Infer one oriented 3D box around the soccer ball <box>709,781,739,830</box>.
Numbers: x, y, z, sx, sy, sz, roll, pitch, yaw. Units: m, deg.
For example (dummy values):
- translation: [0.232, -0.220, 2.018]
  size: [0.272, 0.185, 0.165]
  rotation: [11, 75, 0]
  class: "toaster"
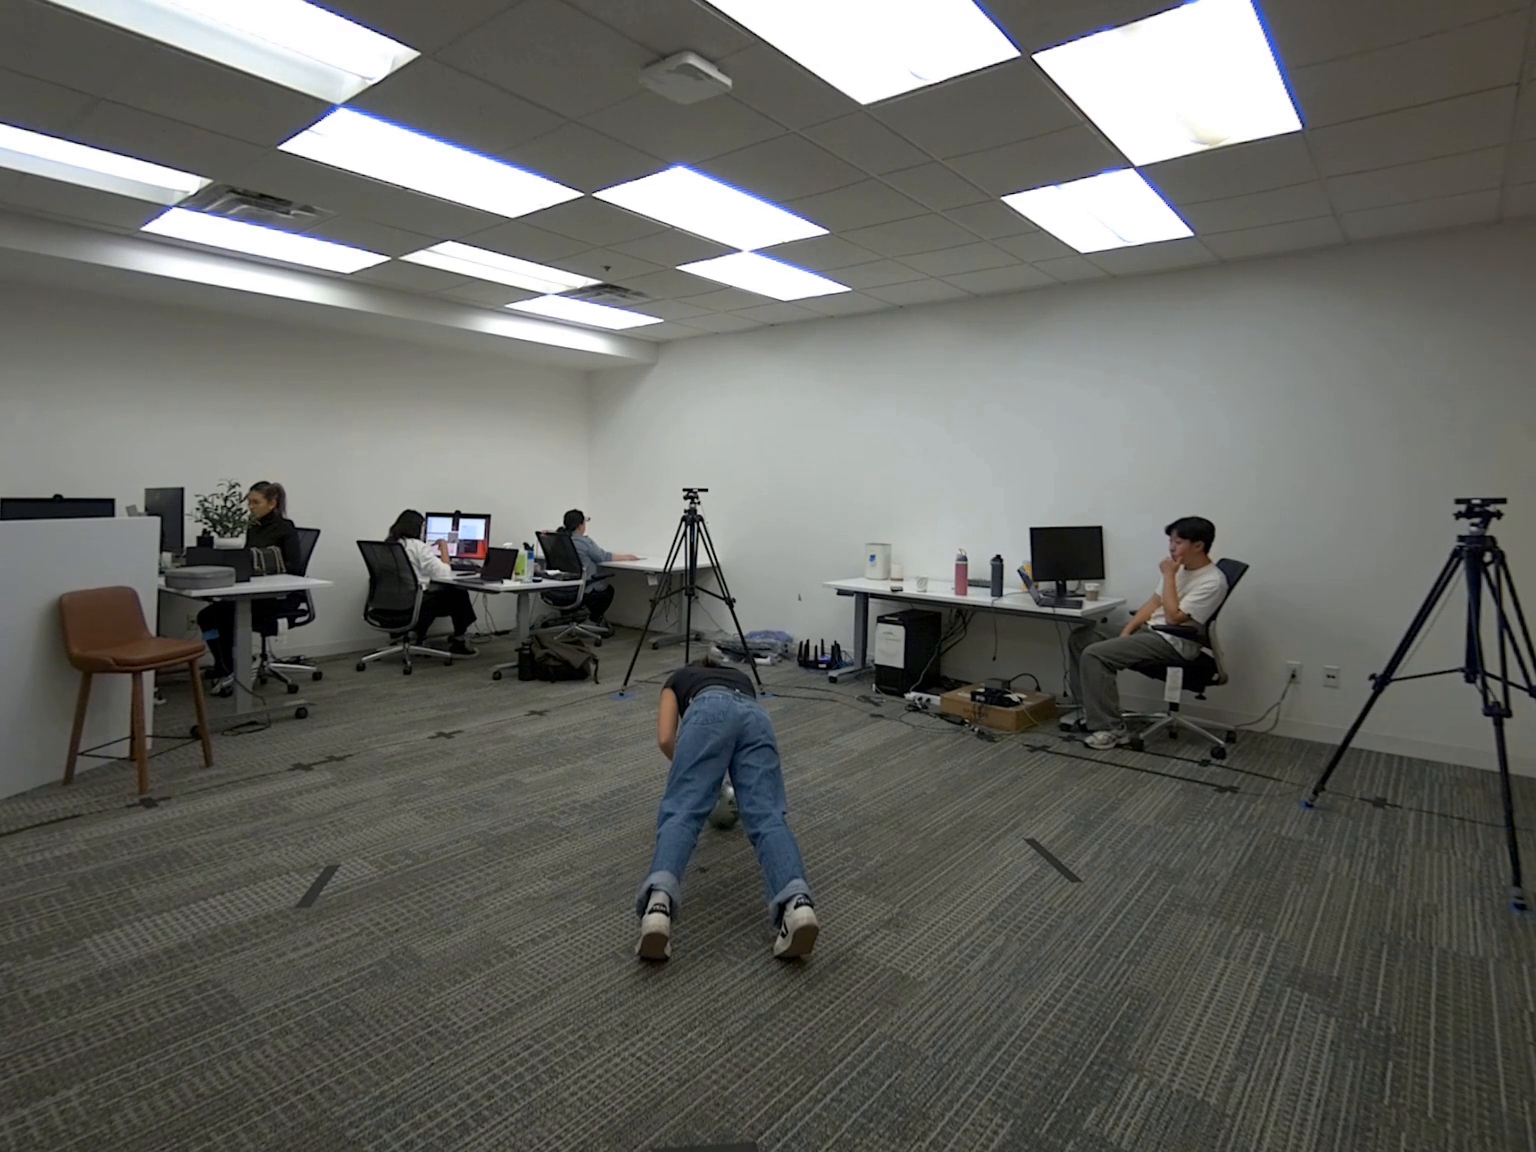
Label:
- translation: [-0.190, 0.929, 3.515]
  size: [0.187, 0.187, 0.188]
  rotation: [1, 4, -2]
  class: "soccer ball"
